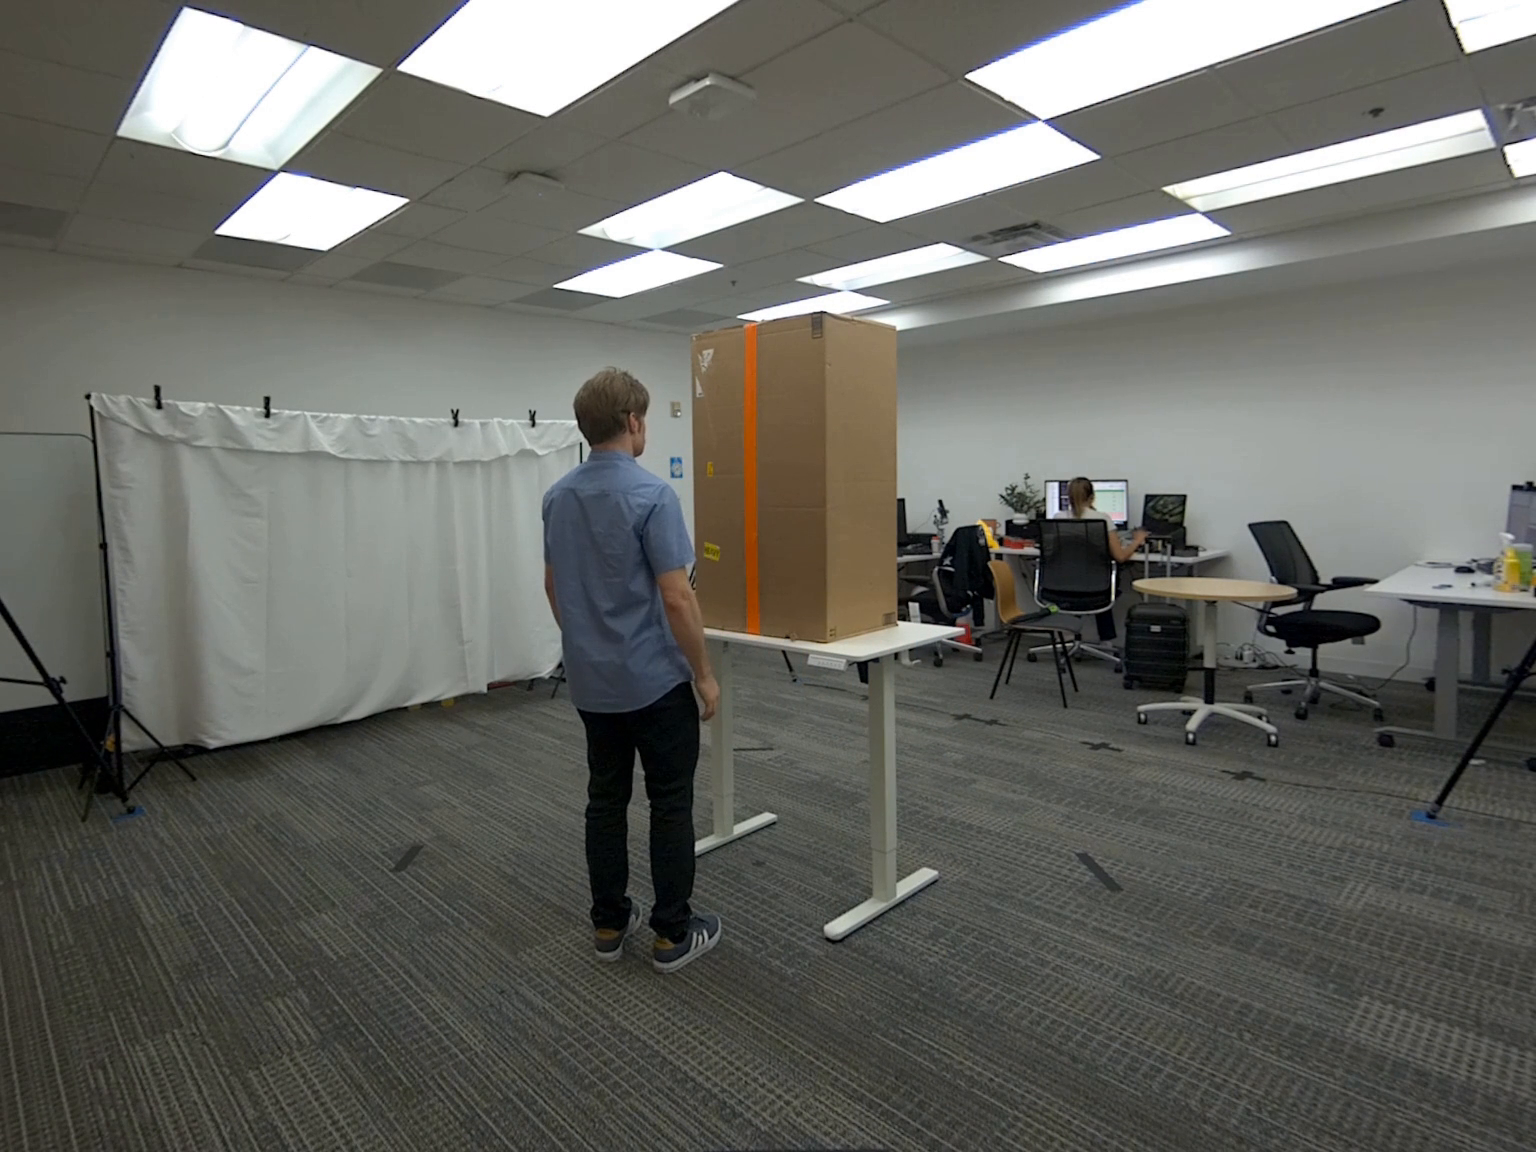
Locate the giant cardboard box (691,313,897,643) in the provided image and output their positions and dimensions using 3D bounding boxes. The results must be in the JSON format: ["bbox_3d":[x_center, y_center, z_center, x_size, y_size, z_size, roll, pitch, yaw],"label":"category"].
[{"bbox_3d":[0.088,-0.328,2.952,0.595,1.022,0.415,3,5,42],"label":"giant cardboard box"}]
